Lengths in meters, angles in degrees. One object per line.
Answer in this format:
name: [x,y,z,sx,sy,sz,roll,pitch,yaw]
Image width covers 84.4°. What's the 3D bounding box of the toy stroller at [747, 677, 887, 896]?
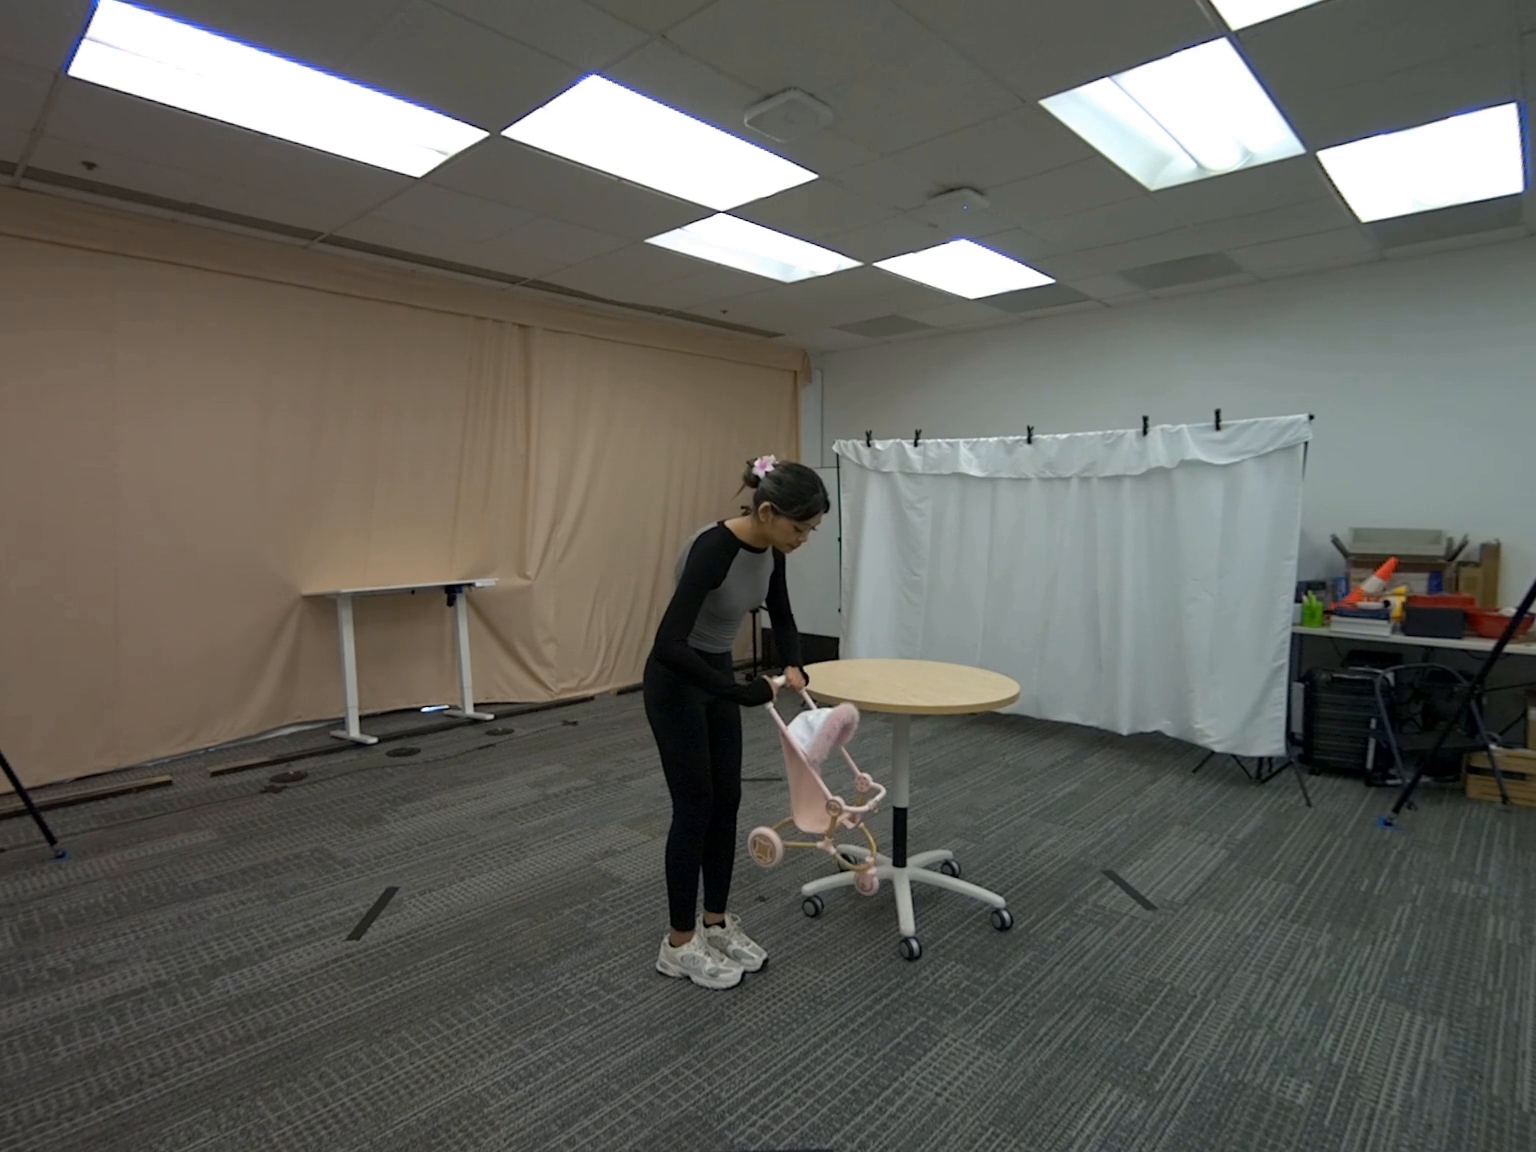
toy stroller: [0.157,0.566,2.260,0.352,0.533,0.274,6,8,34]
